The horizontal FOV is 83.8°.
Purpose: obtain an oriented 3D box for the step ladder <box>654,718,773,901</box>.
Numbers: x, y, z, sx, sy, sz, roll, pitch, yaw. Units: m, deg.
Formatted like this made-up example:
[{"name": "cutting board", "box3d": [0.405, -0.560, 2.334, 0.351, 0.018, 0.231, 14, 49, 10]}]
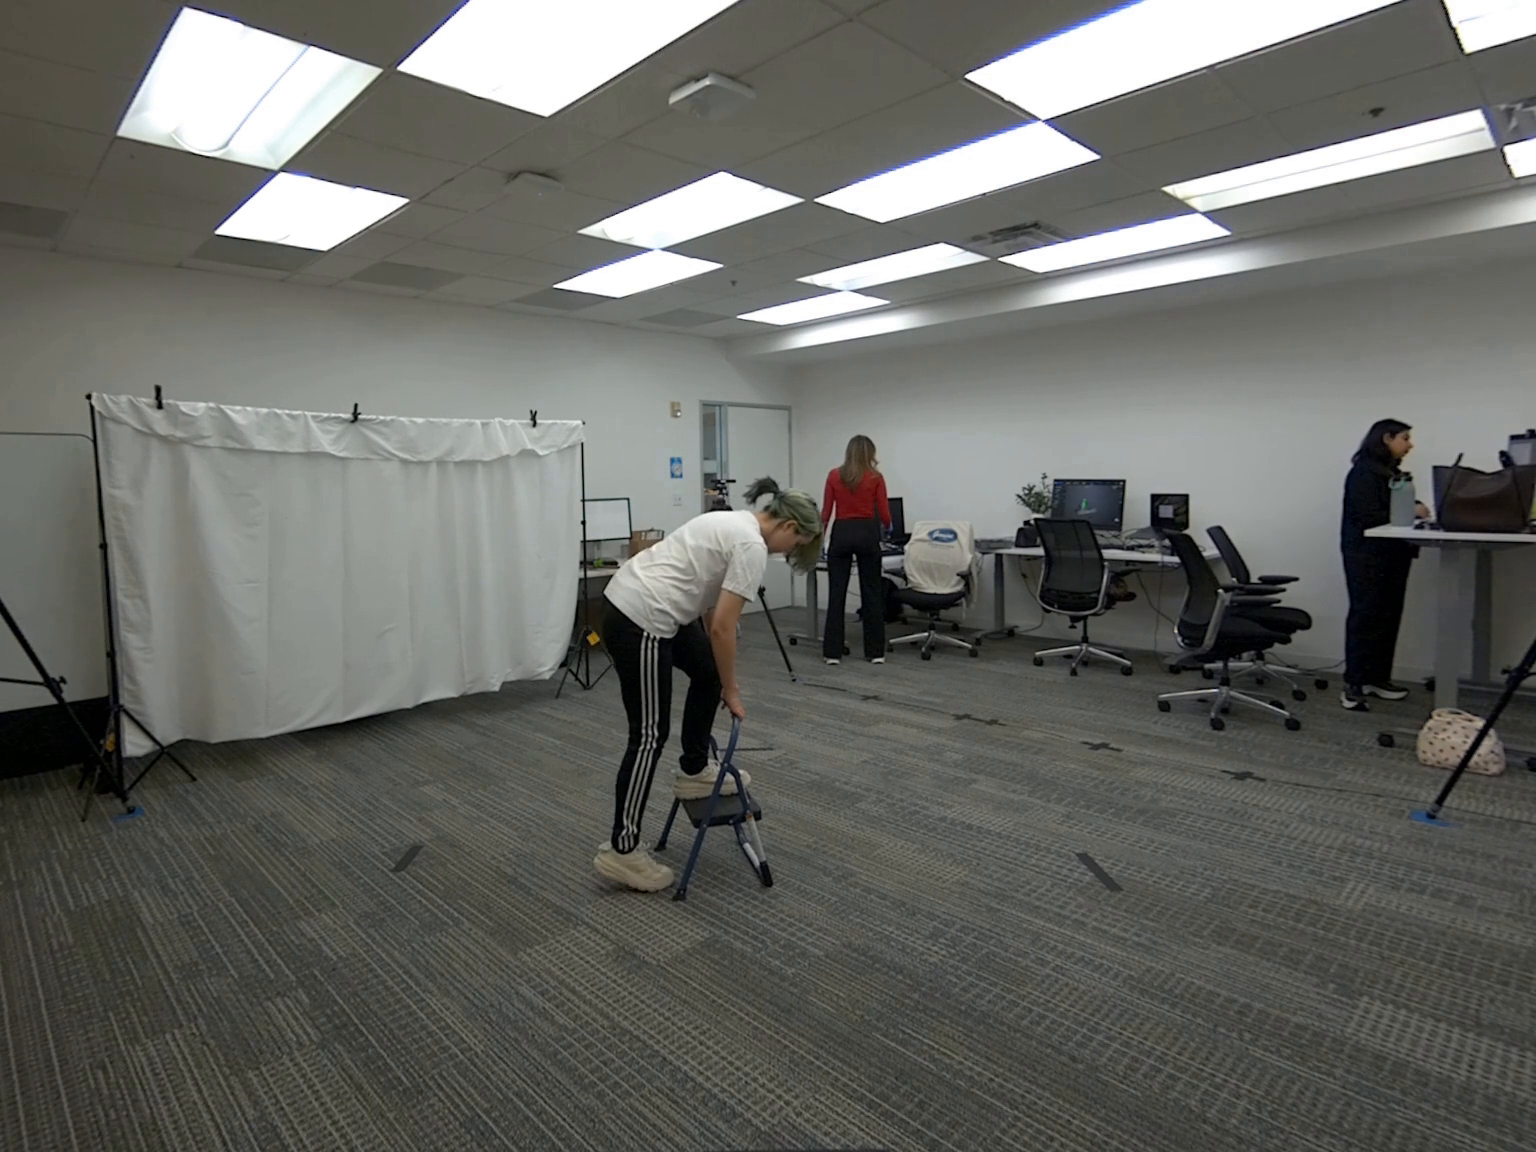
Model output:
[{"name": "step ladder", "box3d": [-0.205, 0.758, 3.073, 0.344, 0.604, 0.438, -2, 4, -16]}]
